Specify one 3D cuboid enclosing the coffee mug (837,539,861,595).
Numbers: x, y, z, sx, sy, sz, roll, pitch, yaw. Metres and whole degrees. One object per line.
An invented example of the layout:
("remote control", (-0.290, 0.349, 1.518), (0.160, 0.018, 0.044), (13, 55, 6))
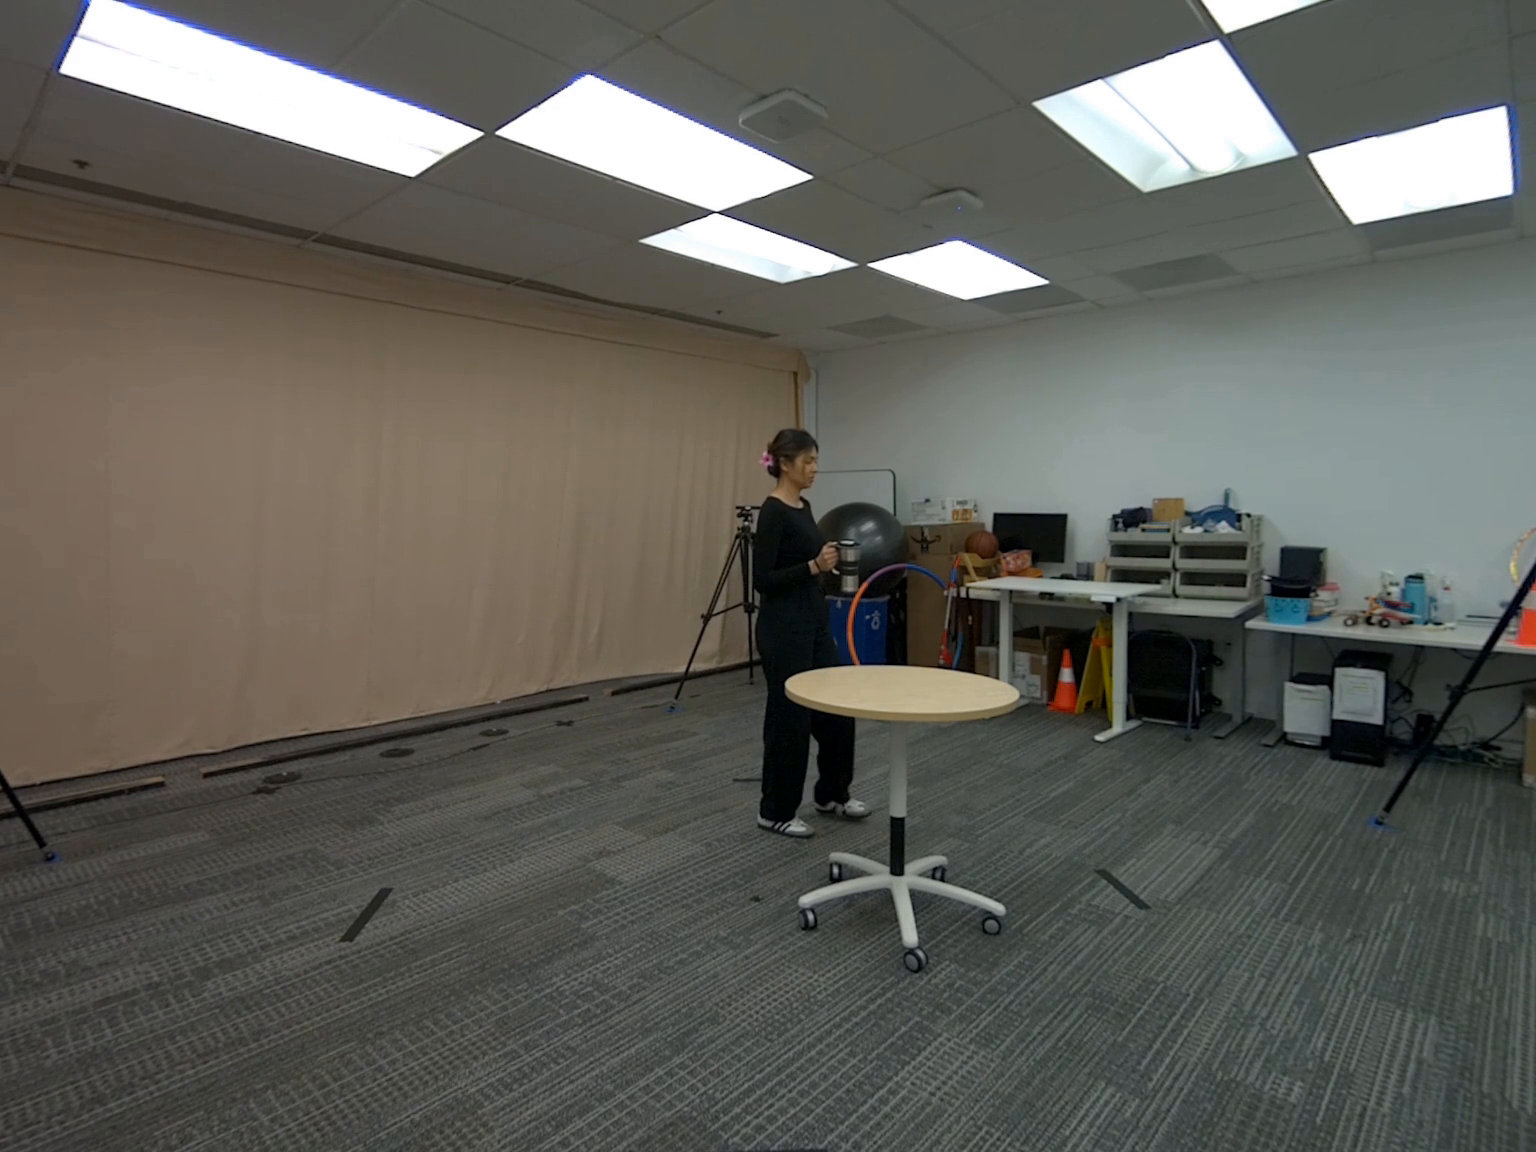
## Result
("coffee mug", (0.291, -0.034, 3.277), (0.125, 0.201, 0.086), (7, 14, 27))
